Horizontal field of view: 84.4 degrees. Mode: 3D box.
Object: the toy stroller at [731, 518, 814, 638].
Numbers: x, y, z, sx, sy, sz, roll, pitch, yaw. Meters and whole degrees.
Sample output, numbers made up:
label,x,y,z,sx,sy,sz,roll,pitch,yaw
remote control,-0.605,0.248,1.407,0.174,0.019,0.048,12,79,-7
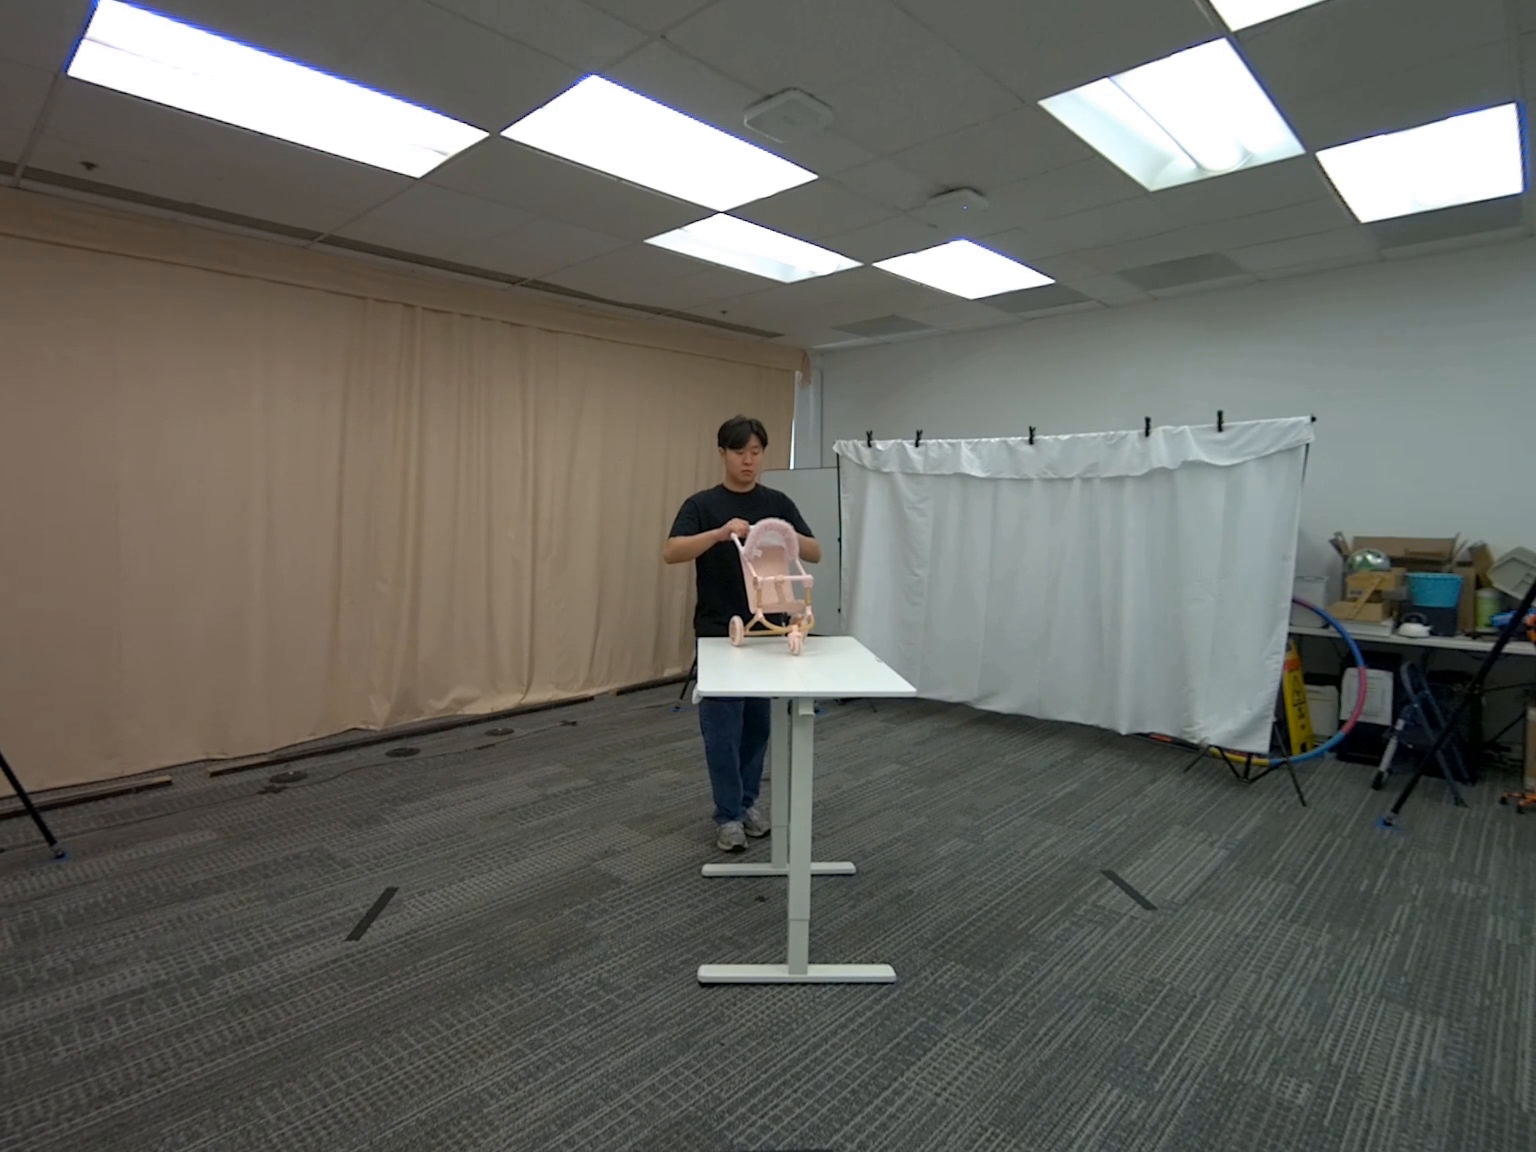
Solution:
label,x,y,z,sx,sy,sz,roll,pitch,yaw
toy stroller,0.028,0.032,3.034,0.277,0.539,0.344,-2,-11,-16
